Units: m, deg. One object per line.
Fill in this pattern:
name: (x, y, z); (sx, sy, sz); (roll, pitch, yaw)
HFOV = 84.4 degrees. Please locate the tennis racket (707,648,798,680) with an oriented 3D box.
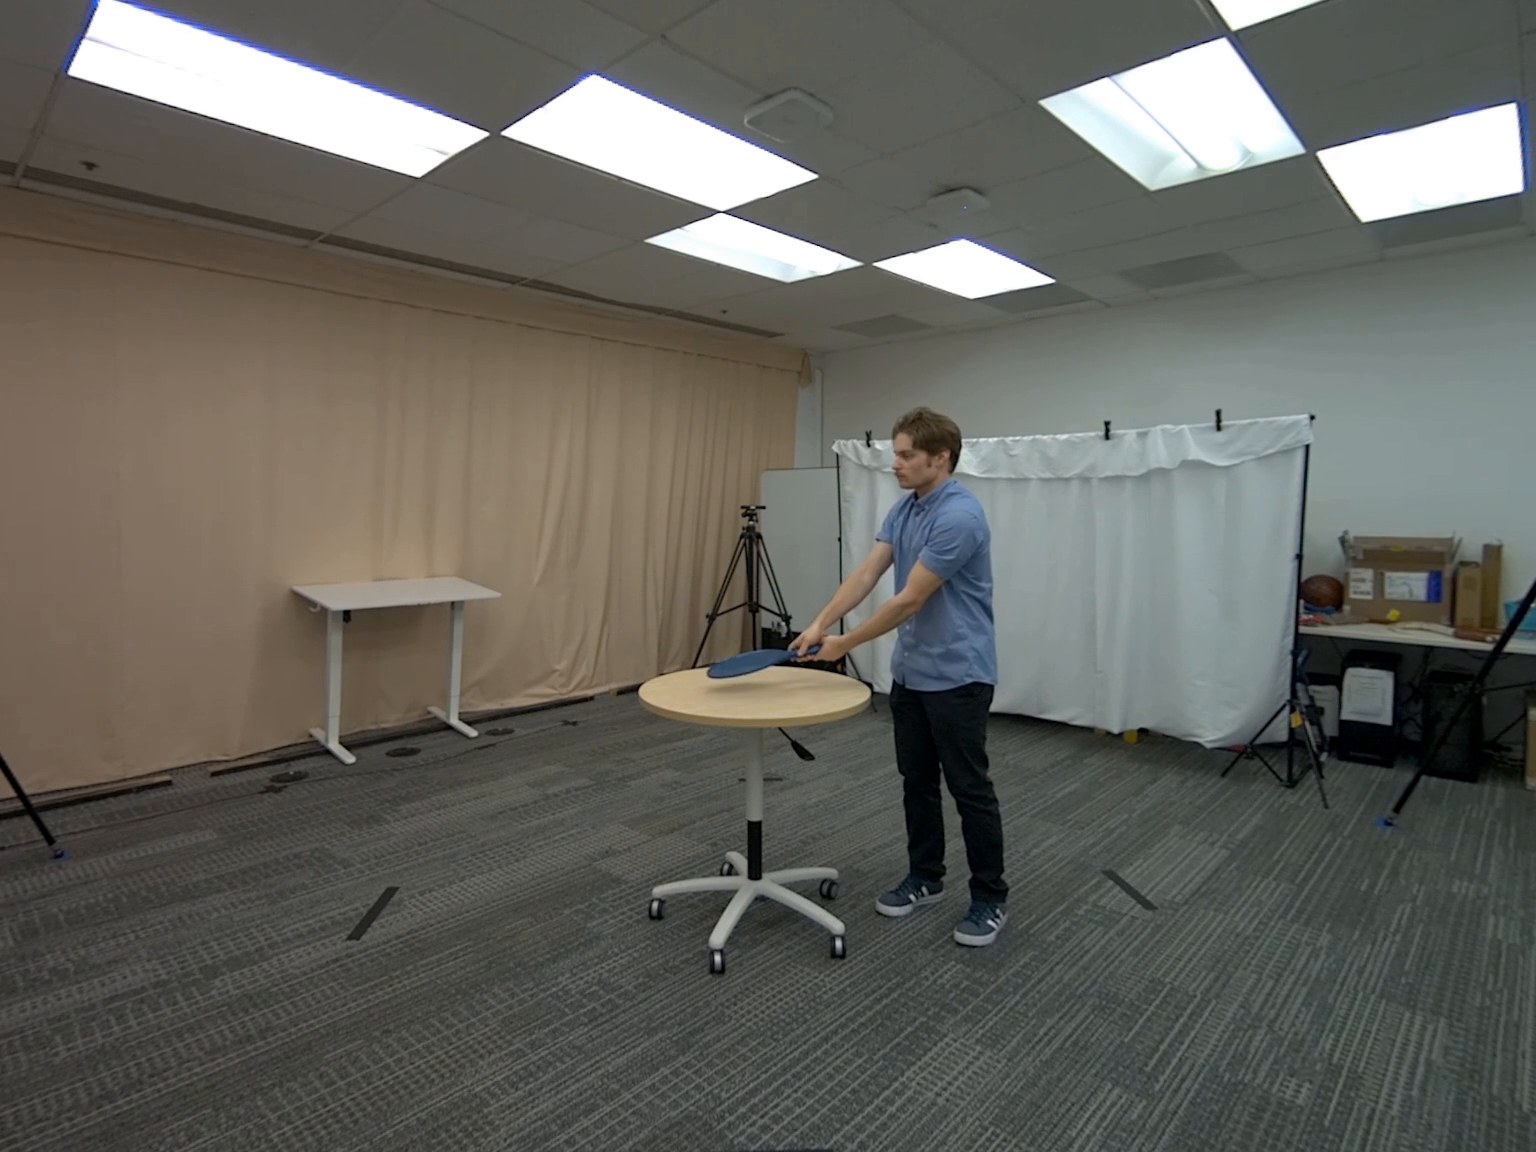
tennis racket: (0.003, 0.281, 2.809); (0.425, 0.032, 0.213); (-8, -22, -19)
